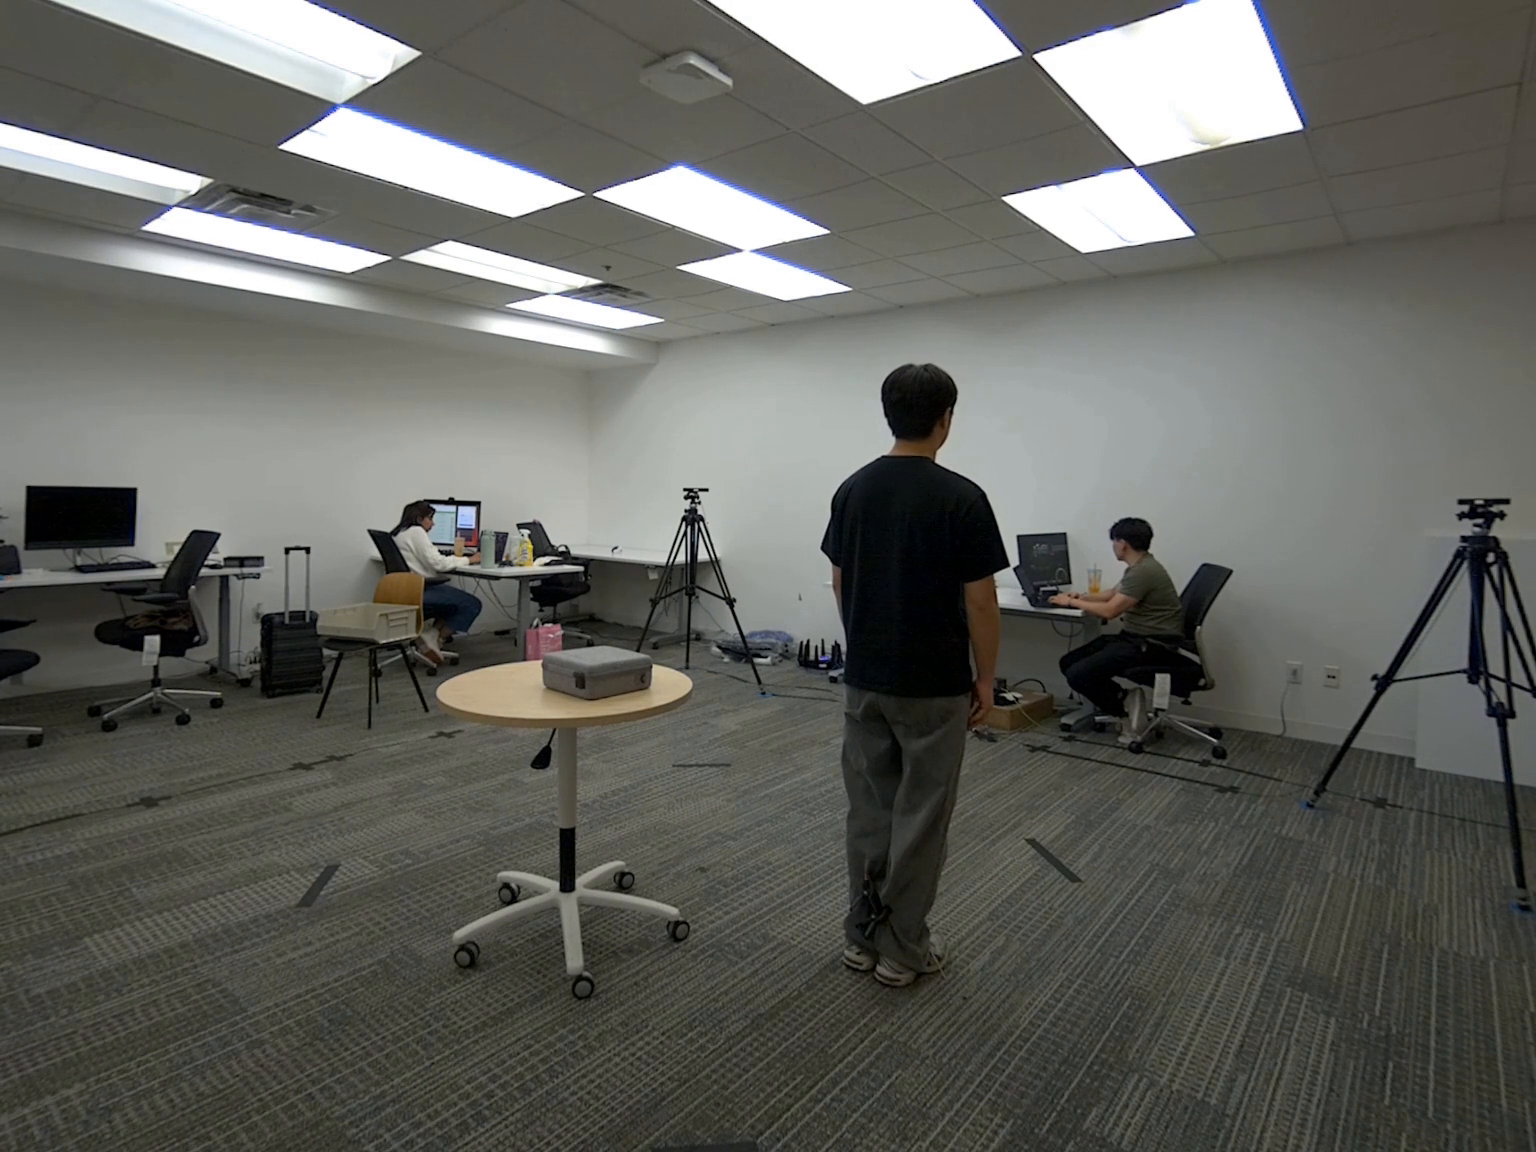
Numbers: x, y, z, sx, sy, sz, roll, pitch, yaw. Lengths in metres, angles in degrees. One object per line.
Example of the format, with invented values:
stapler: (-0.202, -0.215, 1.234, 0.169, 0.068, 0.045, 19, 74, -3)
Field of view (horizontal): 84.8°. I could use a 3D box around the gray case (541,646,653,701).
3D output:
gray case: (-0.516, 0.280, 2.573, 0.278, 0.103, 0.272, -3, 7, -44)
